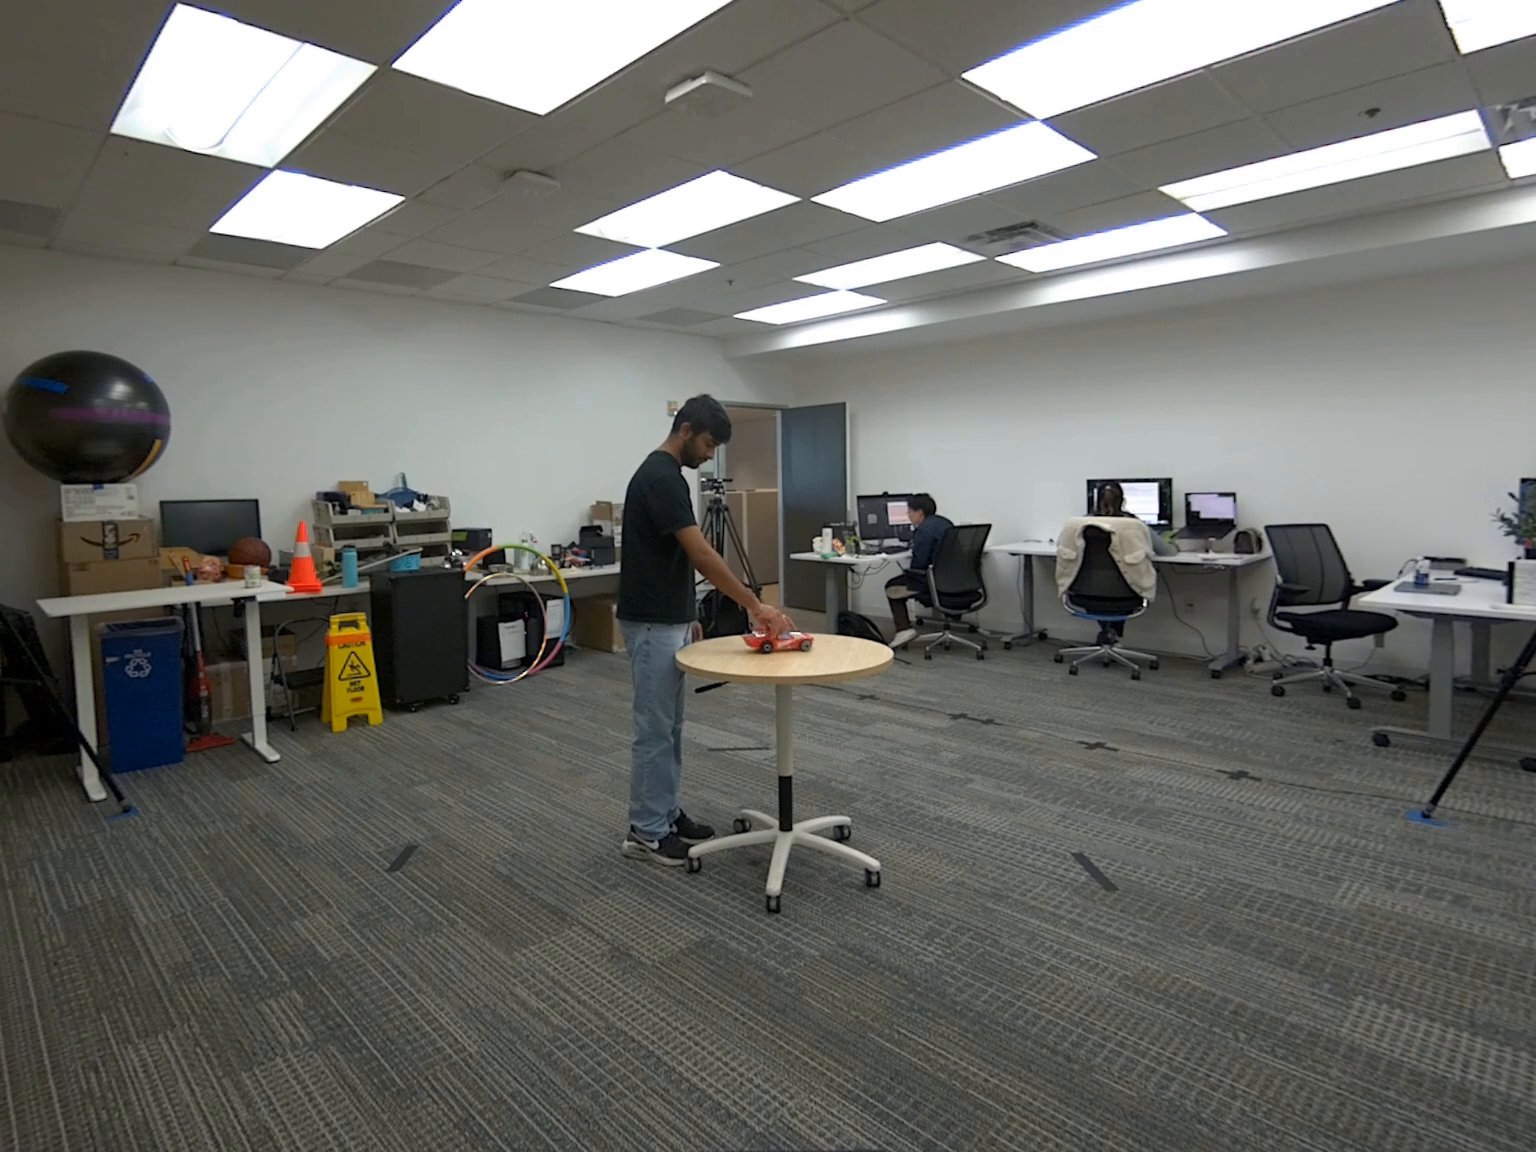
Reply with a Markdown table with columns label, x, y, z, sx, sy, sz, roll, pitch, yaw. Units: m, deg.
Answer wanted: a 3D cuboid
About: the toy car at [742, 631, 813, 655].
| label | x | y | z | sx | sy | sz | roll | pitch | yaw |
| --- | --- | --- | --- | --- | --- | --- | --- | --- | --- |
| toy car | 0.024 | 0.233 | 3.048 | 0.252 | 0.083 | 0.132 | 10 | 3 | -11 |
